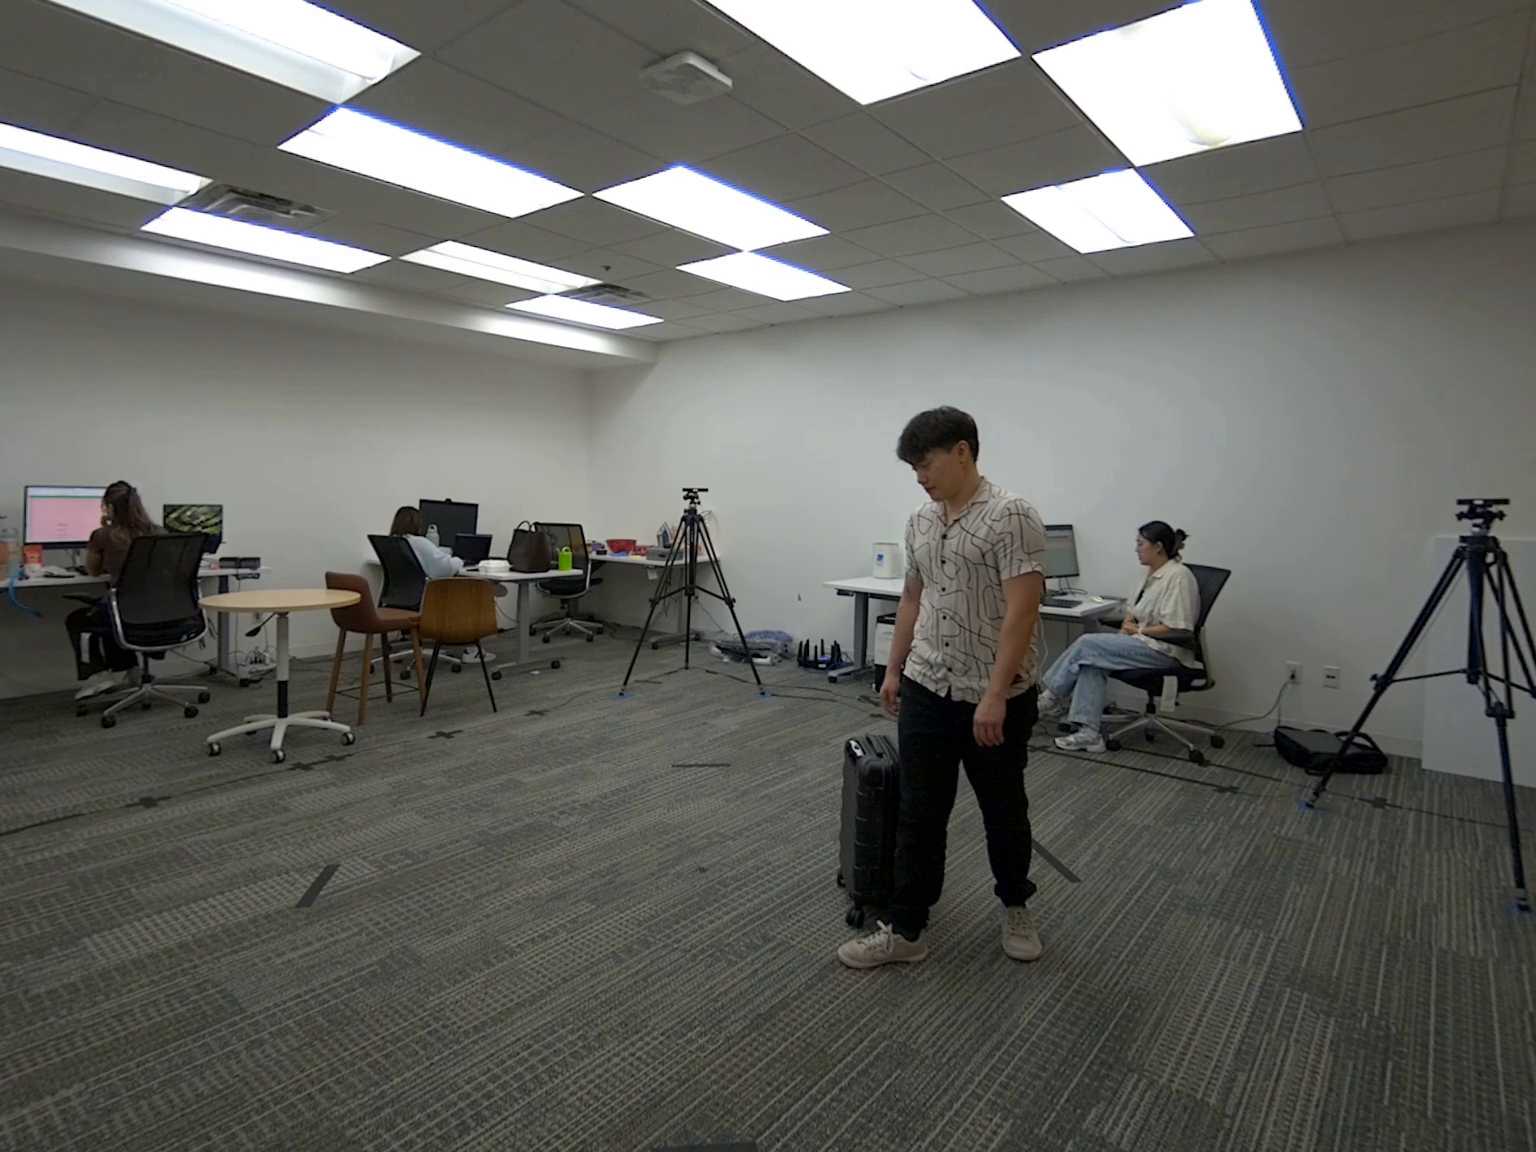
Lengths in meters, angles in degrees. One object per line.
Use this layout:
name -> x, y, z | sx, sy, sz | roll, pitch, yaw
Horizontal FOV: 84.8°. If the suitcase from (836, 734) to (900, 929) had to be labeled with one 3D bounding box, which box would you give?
suitcase -> 0.386, 0.832, 2.880 | 0.248, 0.549, 0.376 | 3, 2, -1
